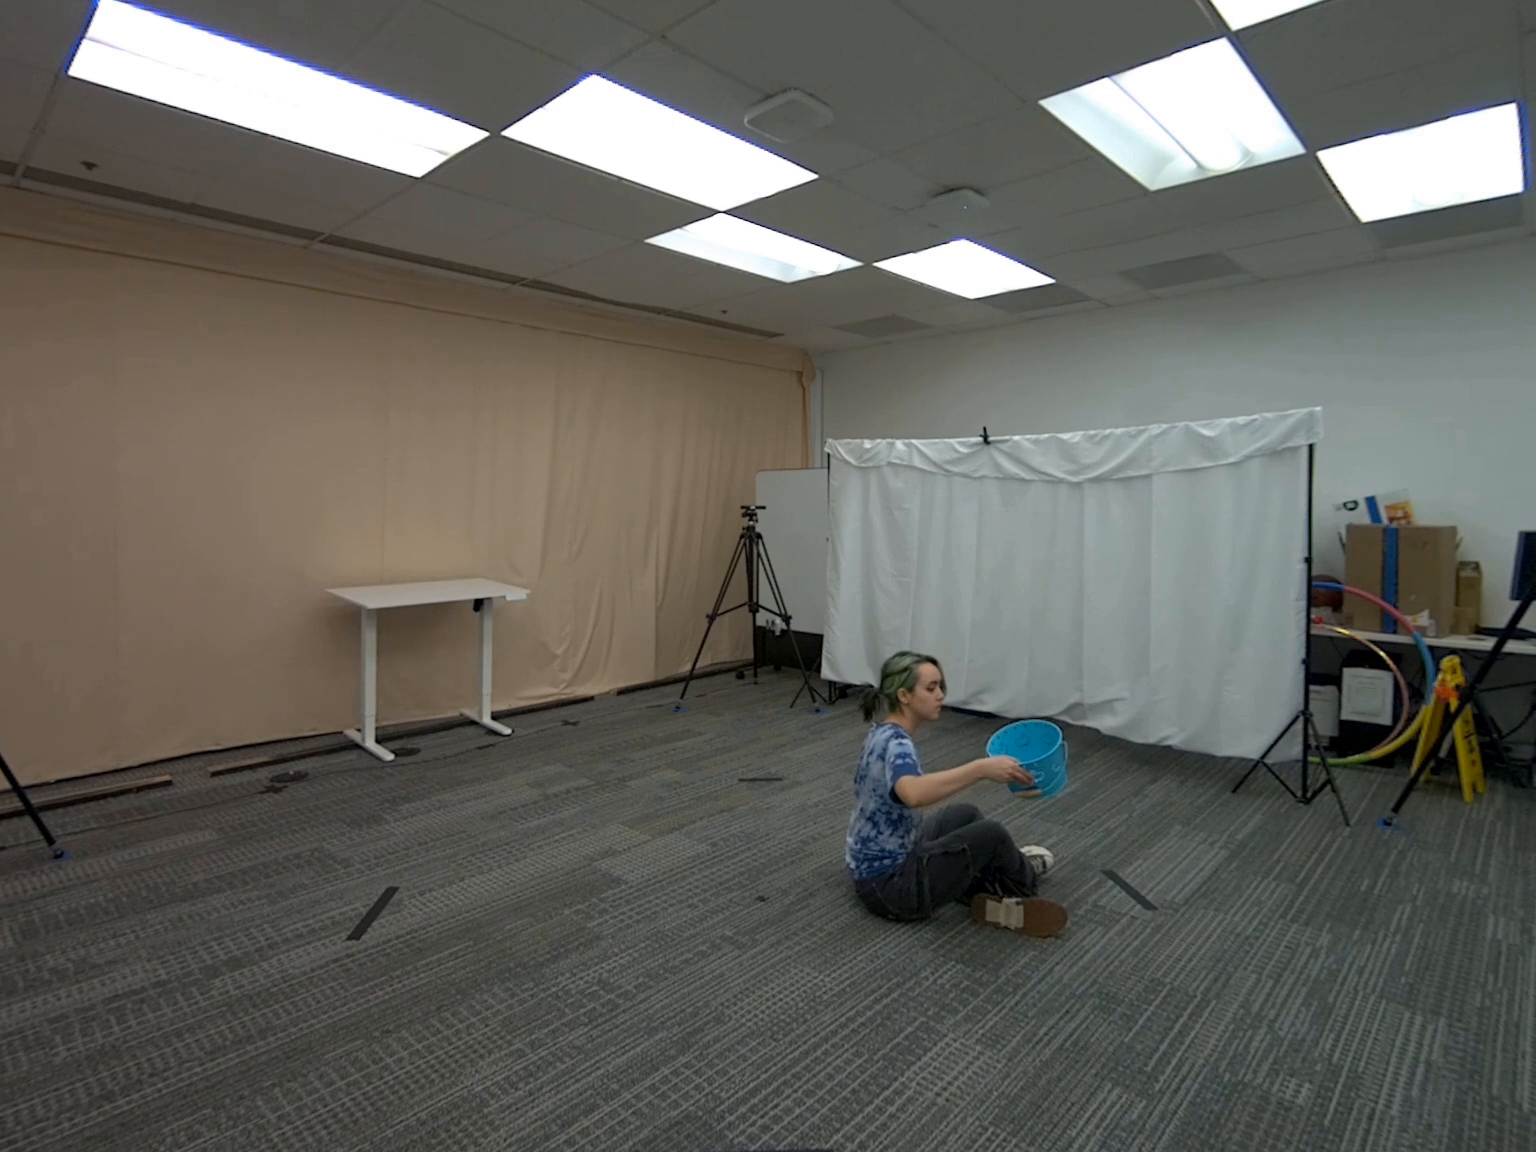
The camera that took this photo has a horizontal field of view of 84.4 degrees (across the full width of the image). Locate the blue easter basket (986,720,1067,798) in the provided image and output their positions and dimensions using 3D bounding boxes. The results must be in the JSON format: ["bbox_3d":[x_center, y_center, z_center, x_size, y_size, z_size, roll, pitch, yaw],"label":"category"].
[{"bbox_3d":[0.829,0.593,2.643,0.244,0.154,0.246,-20,14,3],"label":"blue easter basket"}]
